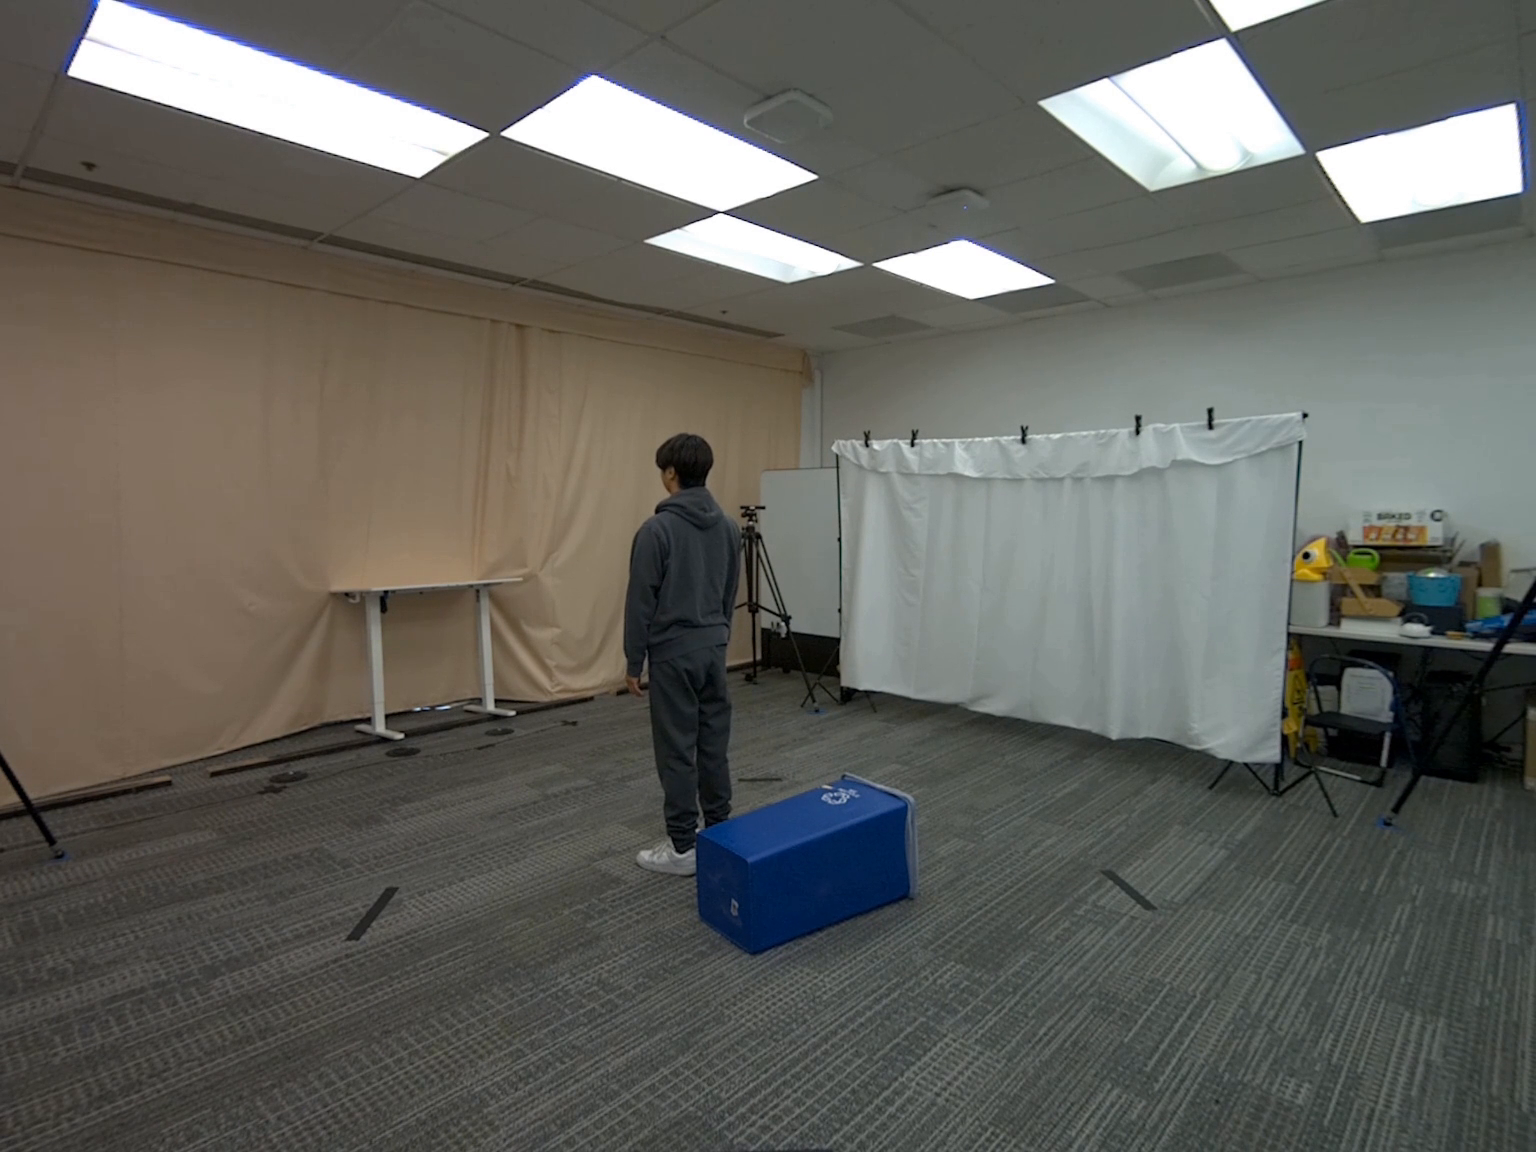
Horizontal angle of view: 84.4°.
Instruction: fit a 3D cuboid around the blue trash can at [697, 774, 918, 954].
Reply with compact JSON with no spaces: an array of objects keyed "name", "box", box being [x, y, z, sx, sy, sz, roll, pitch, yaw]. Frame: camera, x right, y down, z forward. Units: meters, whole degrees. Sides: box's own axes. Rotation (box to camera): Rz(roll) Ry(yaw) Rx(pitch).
[{"name":"blue trash can","box":[0.144,0.983,2.901,0.693,0.377,0.386,-7,7,-37]}]
